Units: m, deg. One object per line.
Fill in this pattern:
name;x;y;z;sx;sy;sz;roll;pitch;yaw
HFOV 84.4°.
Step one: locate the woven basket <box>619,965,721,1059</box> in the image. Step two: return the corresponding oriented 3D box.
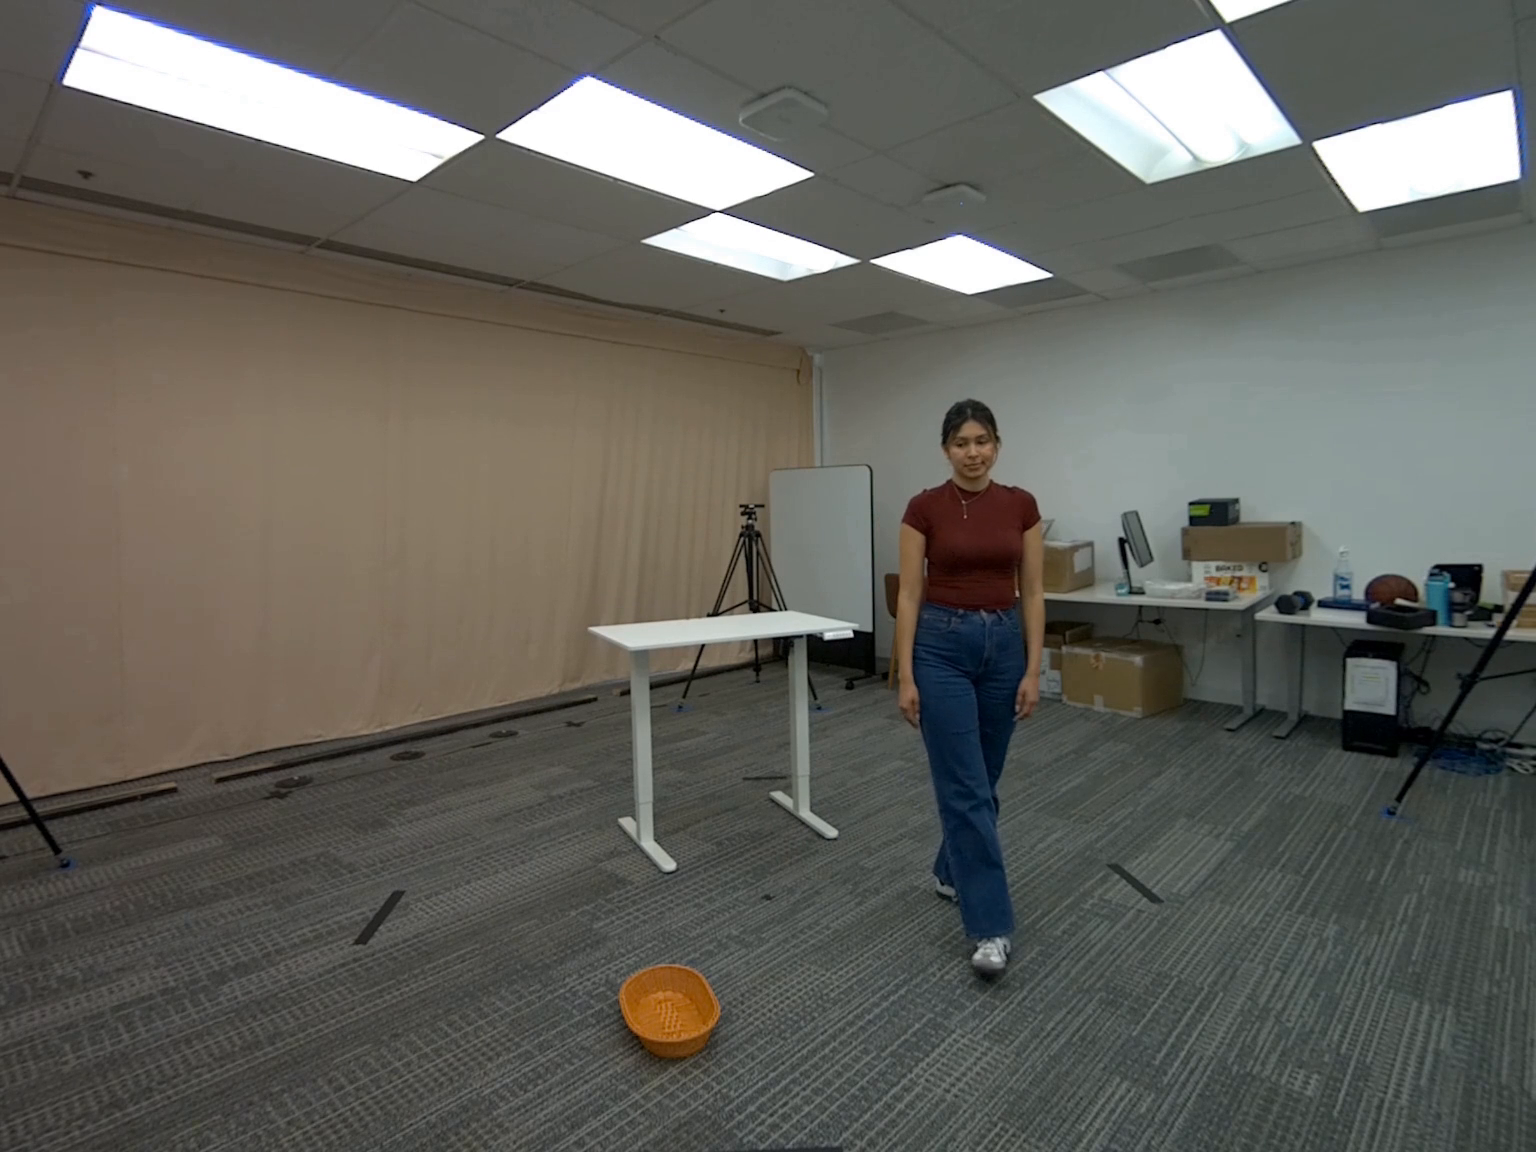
woven basket;-0.265;1.173;2.253;0.248;0.073;0.357;-3;5;-18
